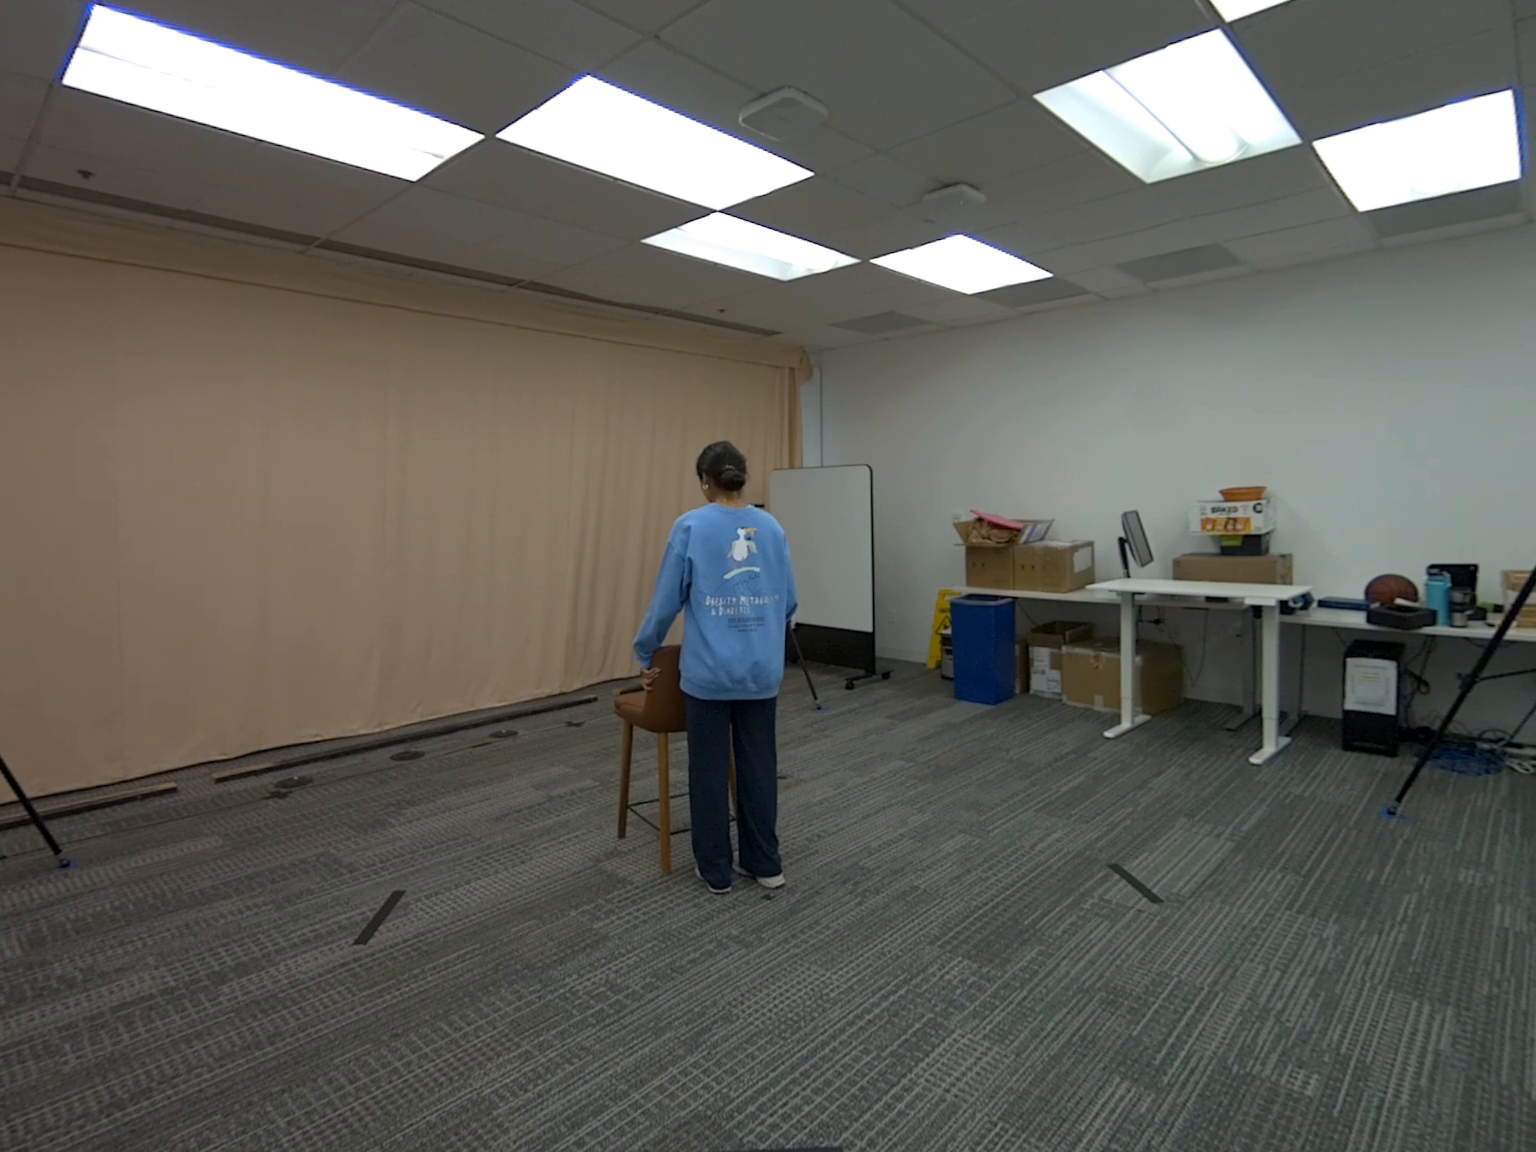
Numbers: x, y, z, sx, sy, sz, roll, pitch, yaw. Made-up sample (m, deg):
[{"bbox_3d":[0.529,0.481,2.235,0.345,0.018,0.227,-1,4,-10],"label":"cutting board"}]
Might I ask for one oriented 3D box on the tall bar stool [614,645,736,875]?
[{"bbox_3d":[-0.353,0.671,3.420,0.444,0.887,0.482,-3,6,-30],"label":"tall bar stool"}]
